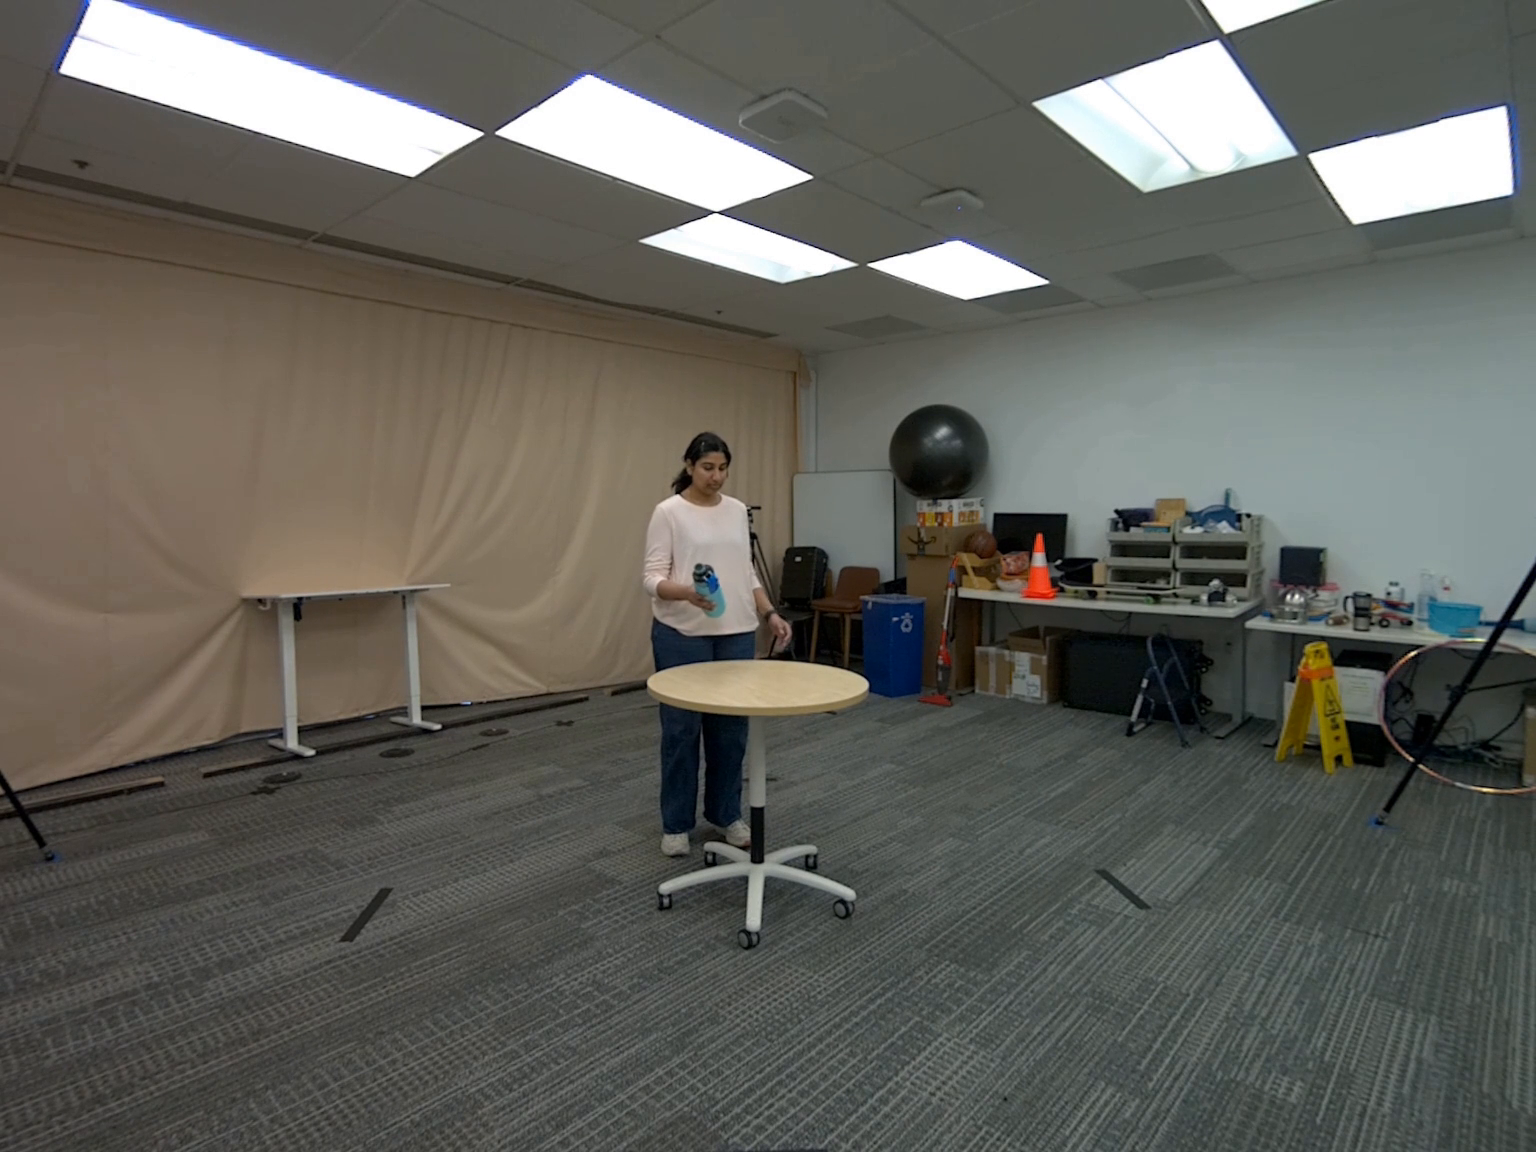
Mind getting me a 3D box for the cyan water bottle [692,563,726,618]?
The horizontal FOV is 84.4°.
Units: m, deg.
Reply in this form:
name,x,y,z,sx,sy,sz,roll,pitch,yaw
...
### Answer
name,x,y,z,sx,sy,sz,roll,pitch,yaw
cyan water bottle,-0.214,0.033,3.059,0.092,0.094,0.278,1,-31,1
